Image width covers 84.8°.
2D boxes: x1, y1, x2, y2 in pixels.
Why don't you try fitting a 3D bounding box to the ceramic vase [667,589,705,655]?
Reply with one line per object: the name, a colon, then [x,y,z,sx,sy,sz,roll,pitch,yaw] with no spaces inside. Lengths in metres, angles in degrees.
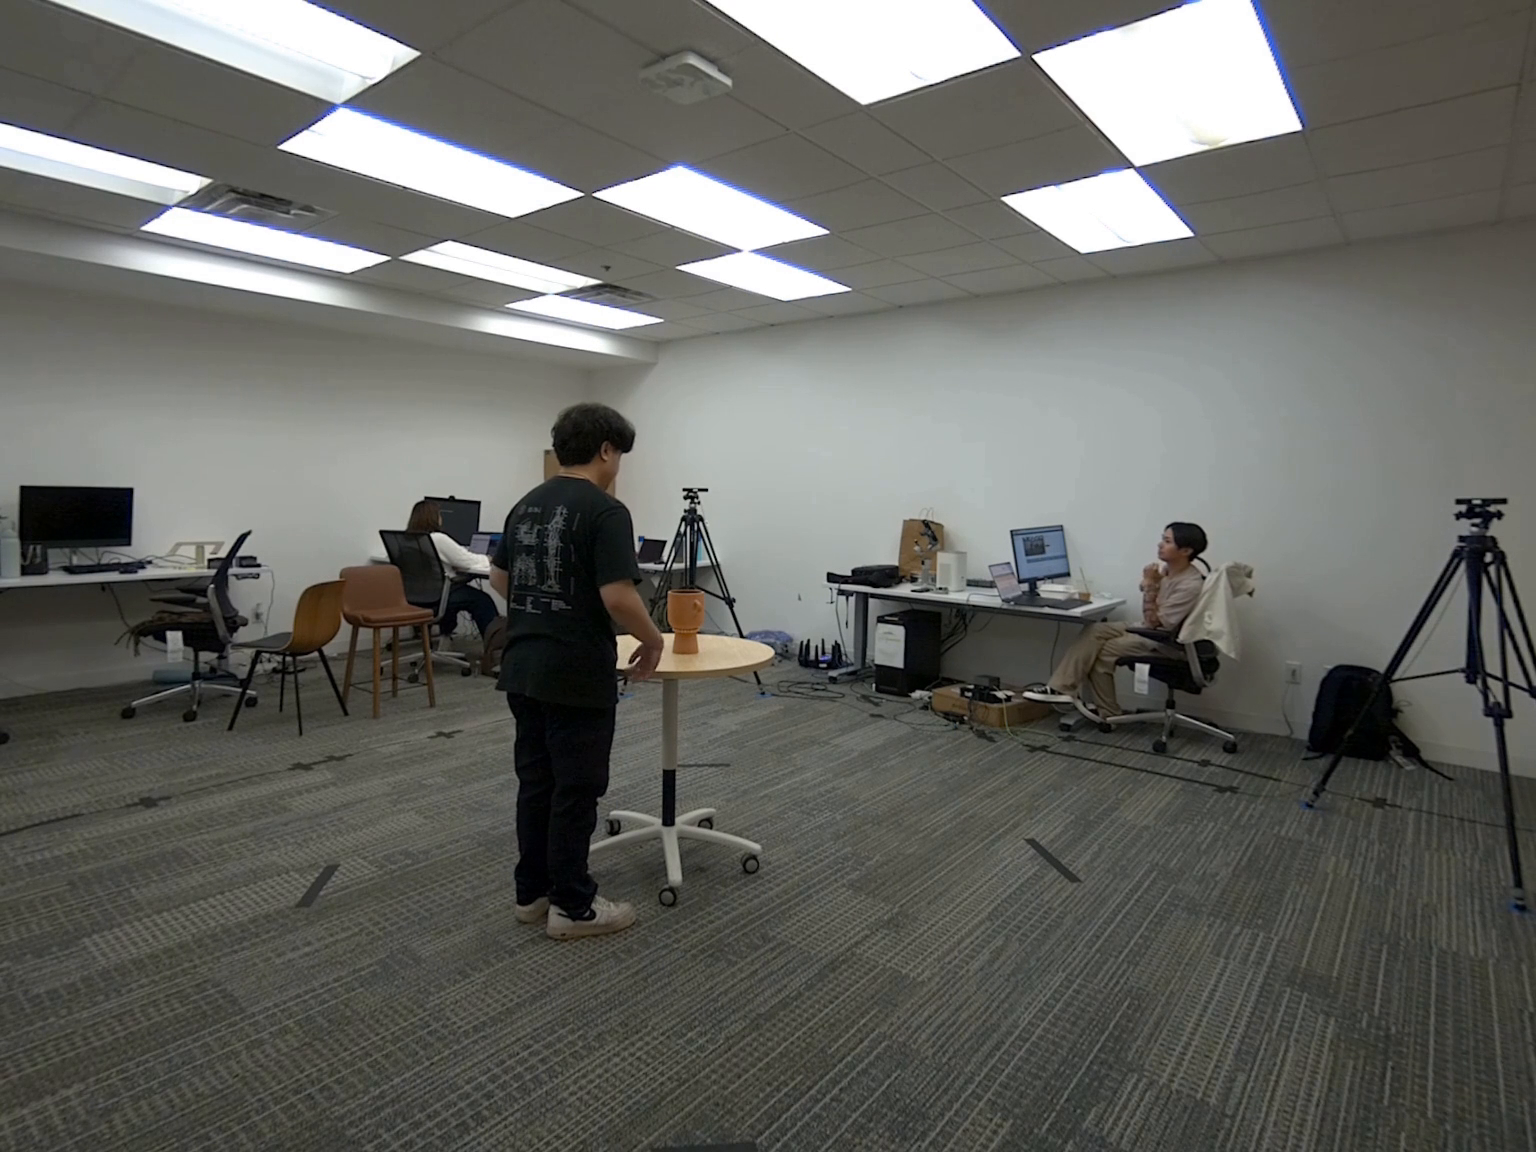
ceramic vase: [-0.310,0.166,3.099,0.154,0.219,0.138,-2,3,-31]
